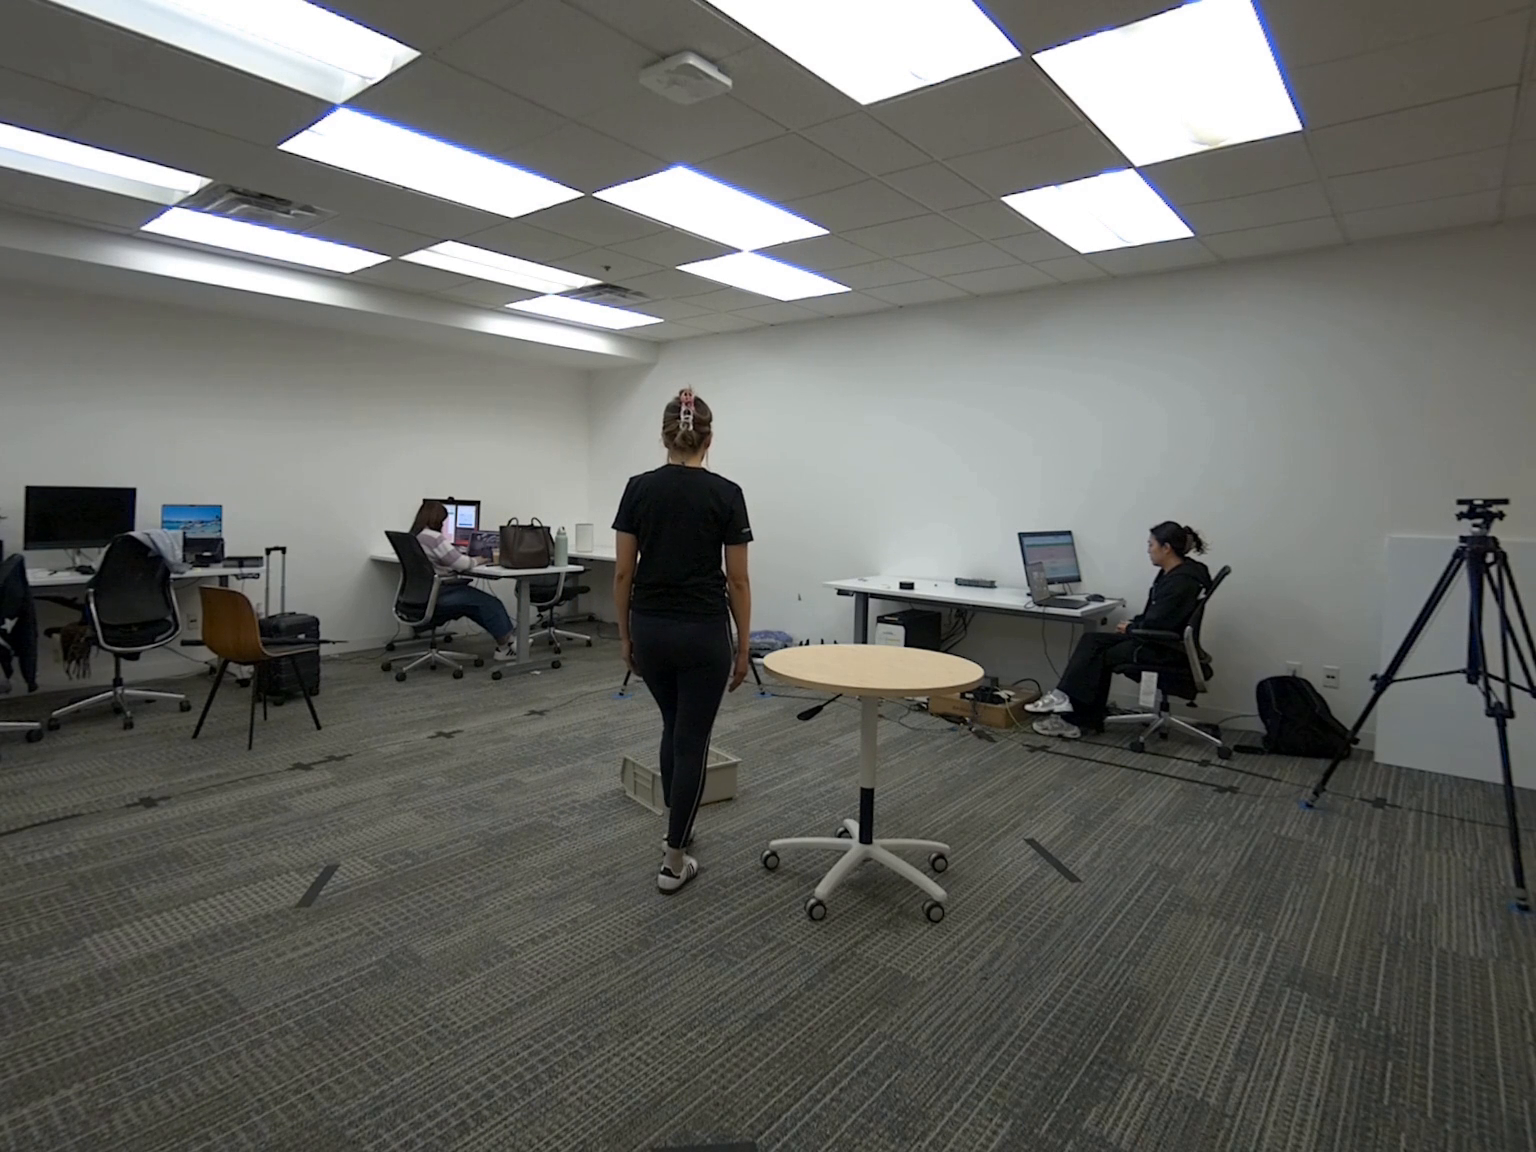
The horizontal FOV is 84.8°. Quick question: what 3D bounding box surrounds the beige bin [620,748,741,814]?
[{"bbox_3d":[-0.409,0.906,3.866,0.410,0.188,0.390,-2,7,-36],"label":"beige bin"}]
